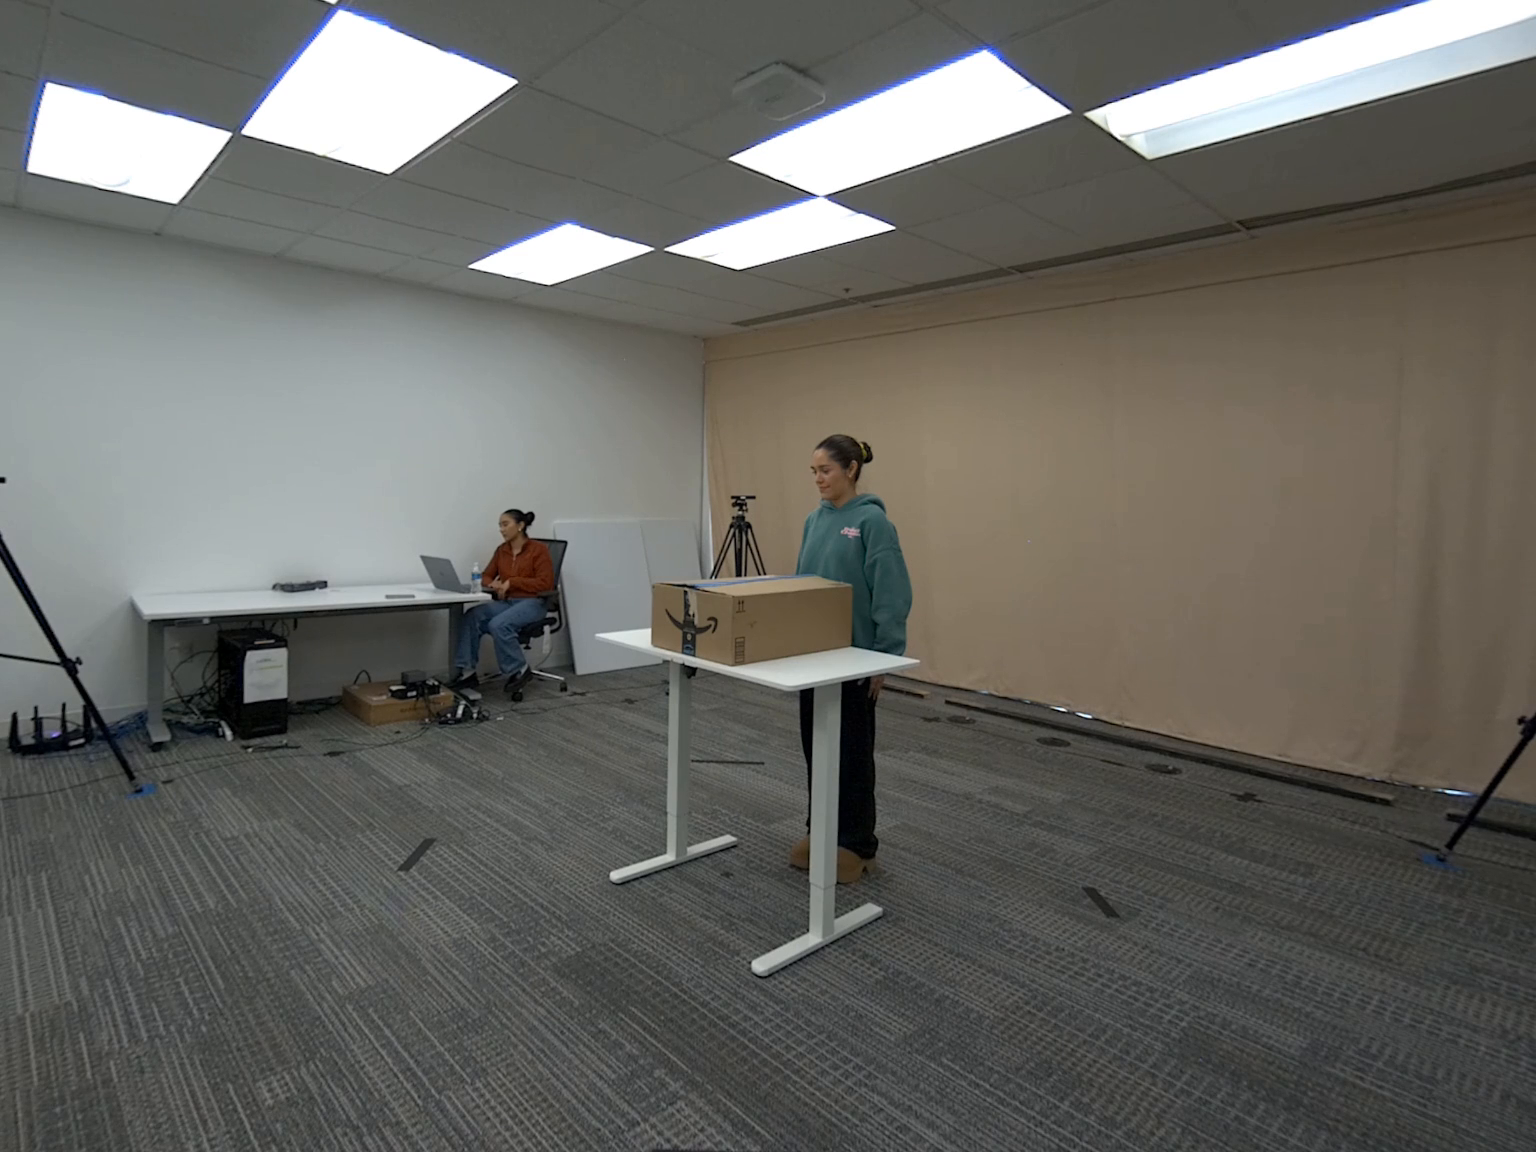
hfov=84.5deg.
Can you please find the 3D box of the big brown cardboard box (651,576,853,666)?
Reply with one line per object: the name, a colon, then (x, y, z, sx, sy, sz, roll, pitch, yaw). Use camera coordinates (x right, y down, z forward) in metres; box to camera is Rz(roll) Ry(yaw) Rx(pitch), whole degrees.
big brown cardboard box: (-0.055, 0.133, 2.879, 0.576, 0.232, 0.428, -5, 8, -44)
